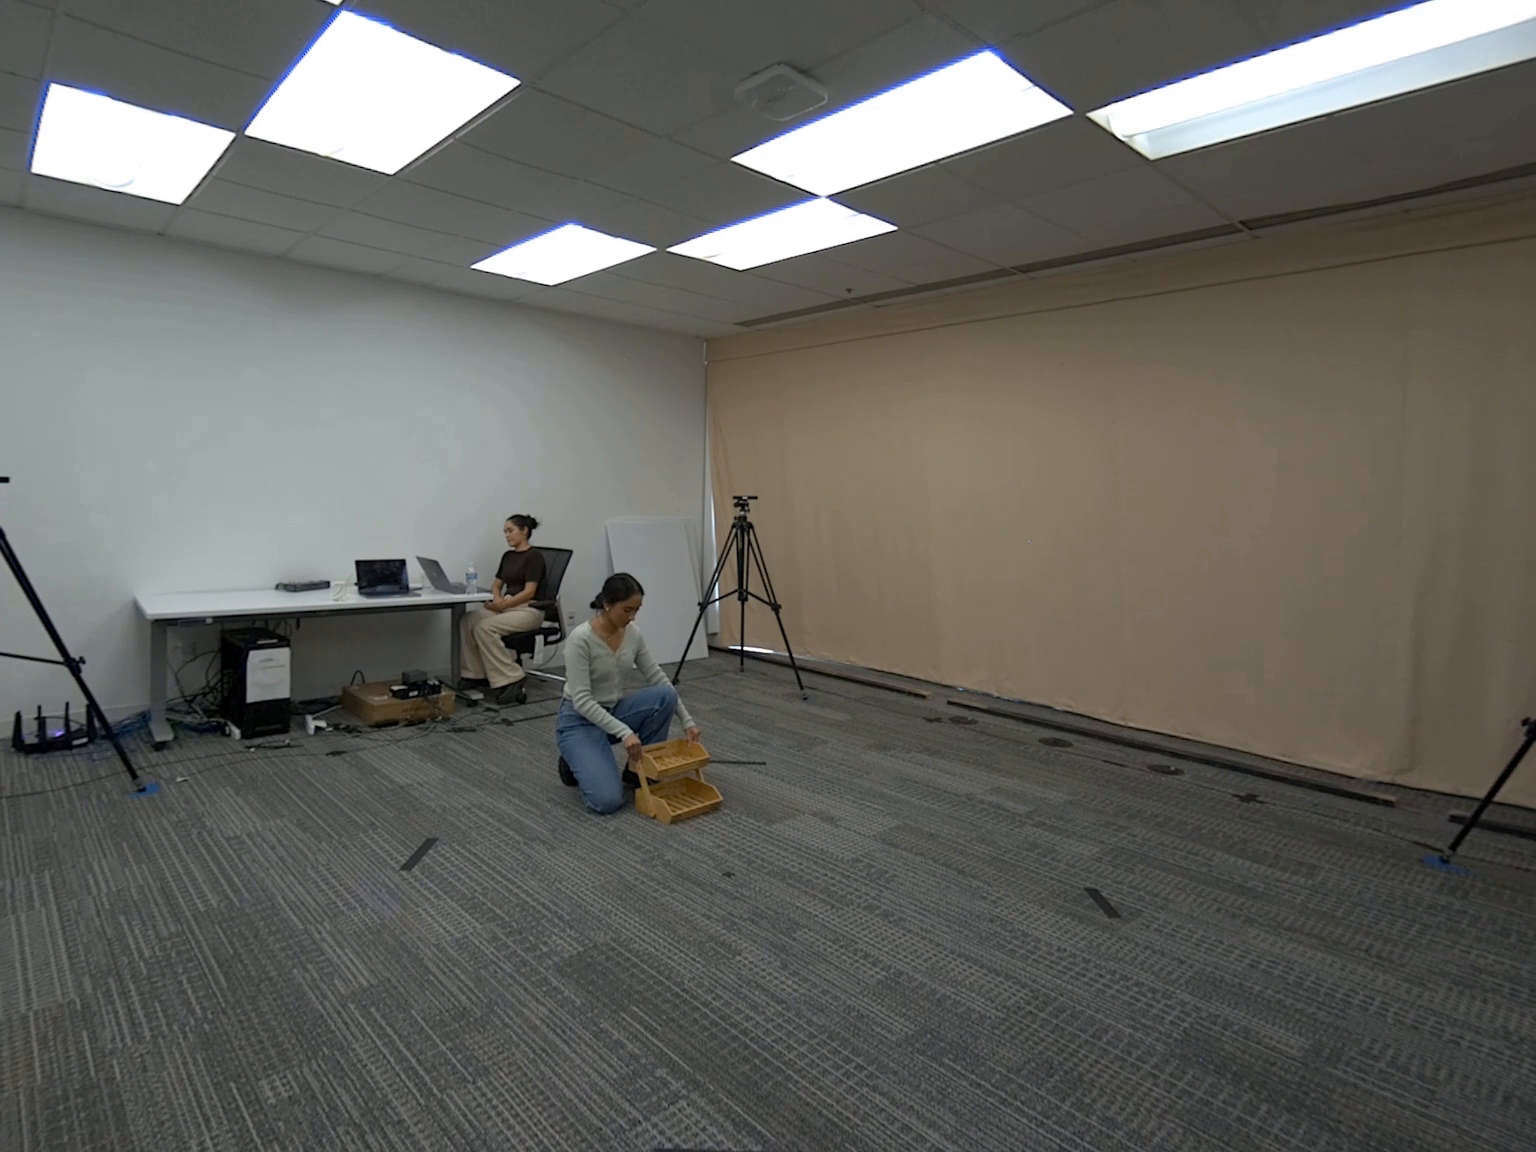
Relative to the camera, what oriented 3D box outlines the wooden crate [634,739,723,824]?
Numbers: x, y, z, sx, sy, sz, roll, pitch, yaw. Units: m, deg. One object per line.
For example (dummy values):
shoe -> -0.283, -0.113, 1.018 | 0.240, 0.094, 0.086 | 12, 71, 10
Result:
wooden crate -> -0.414, 0.901, 3.757 | 0.309, 0.273, 0.317 | 4, 4, 44
